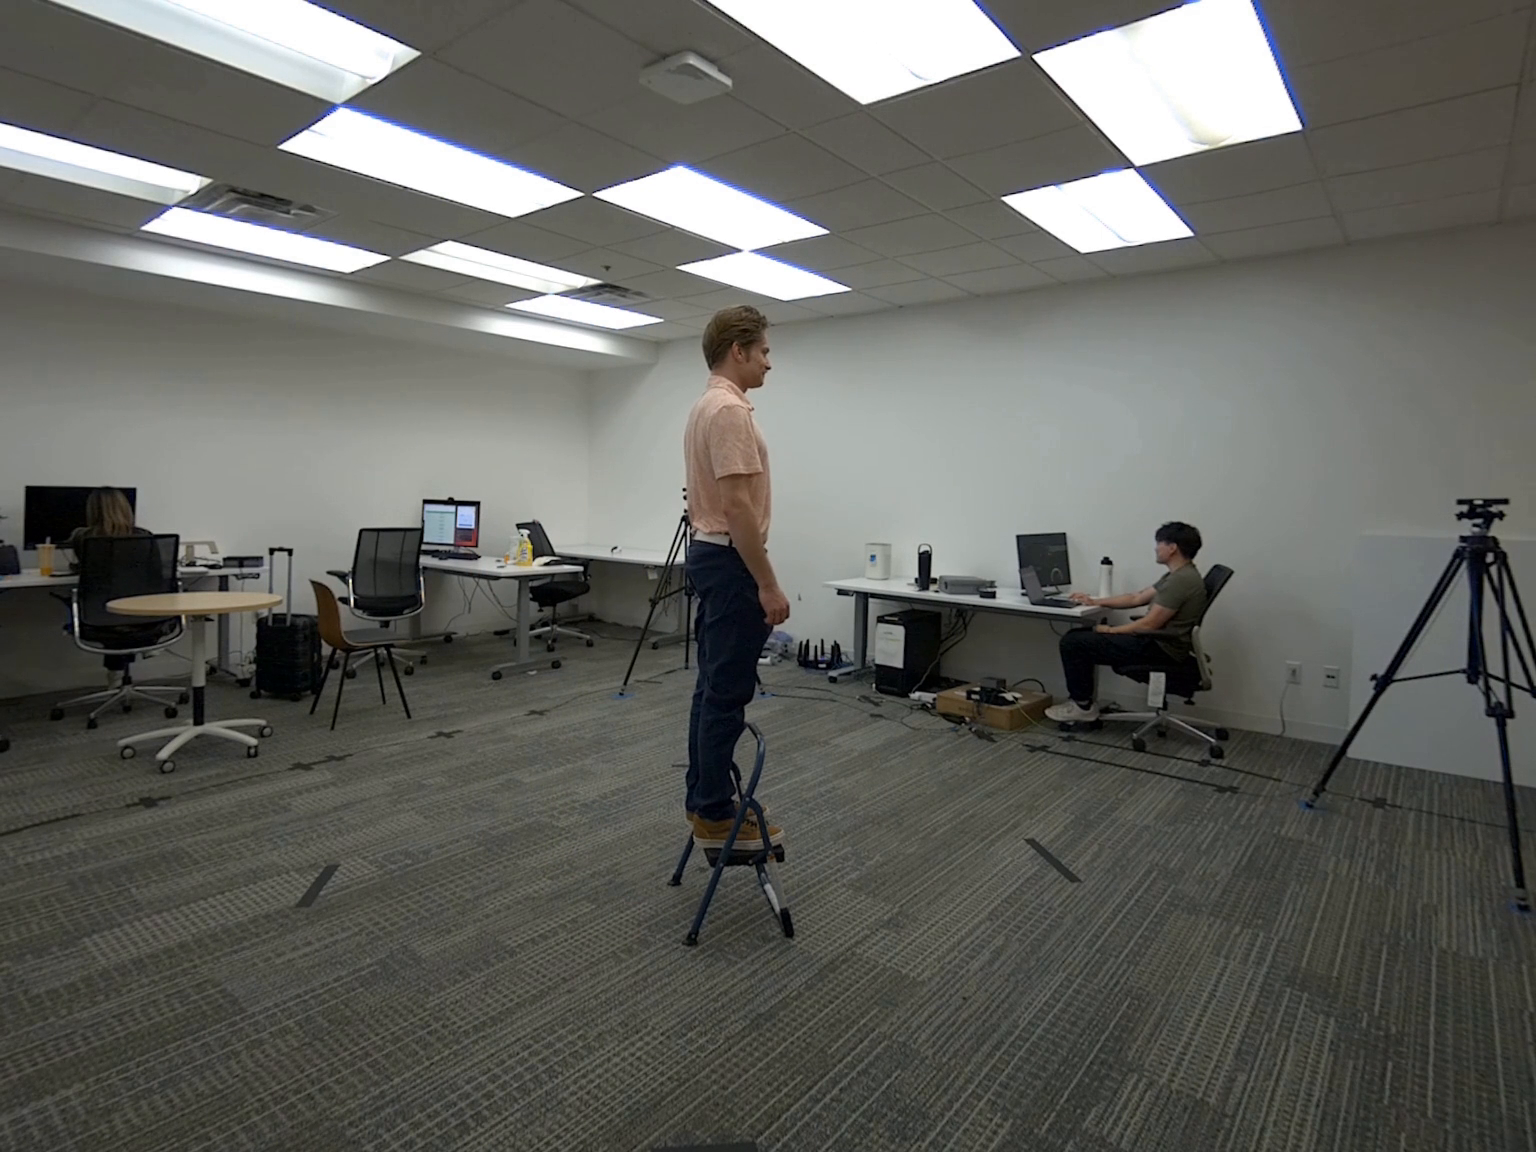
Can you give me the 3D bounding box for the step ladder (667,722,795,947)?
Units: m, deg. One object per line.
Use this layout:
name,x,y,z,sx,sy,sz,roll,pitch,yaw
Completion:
step ladder,-0.131,0.802,2.802,0.345,0.604,0.437,-1,4,-12
